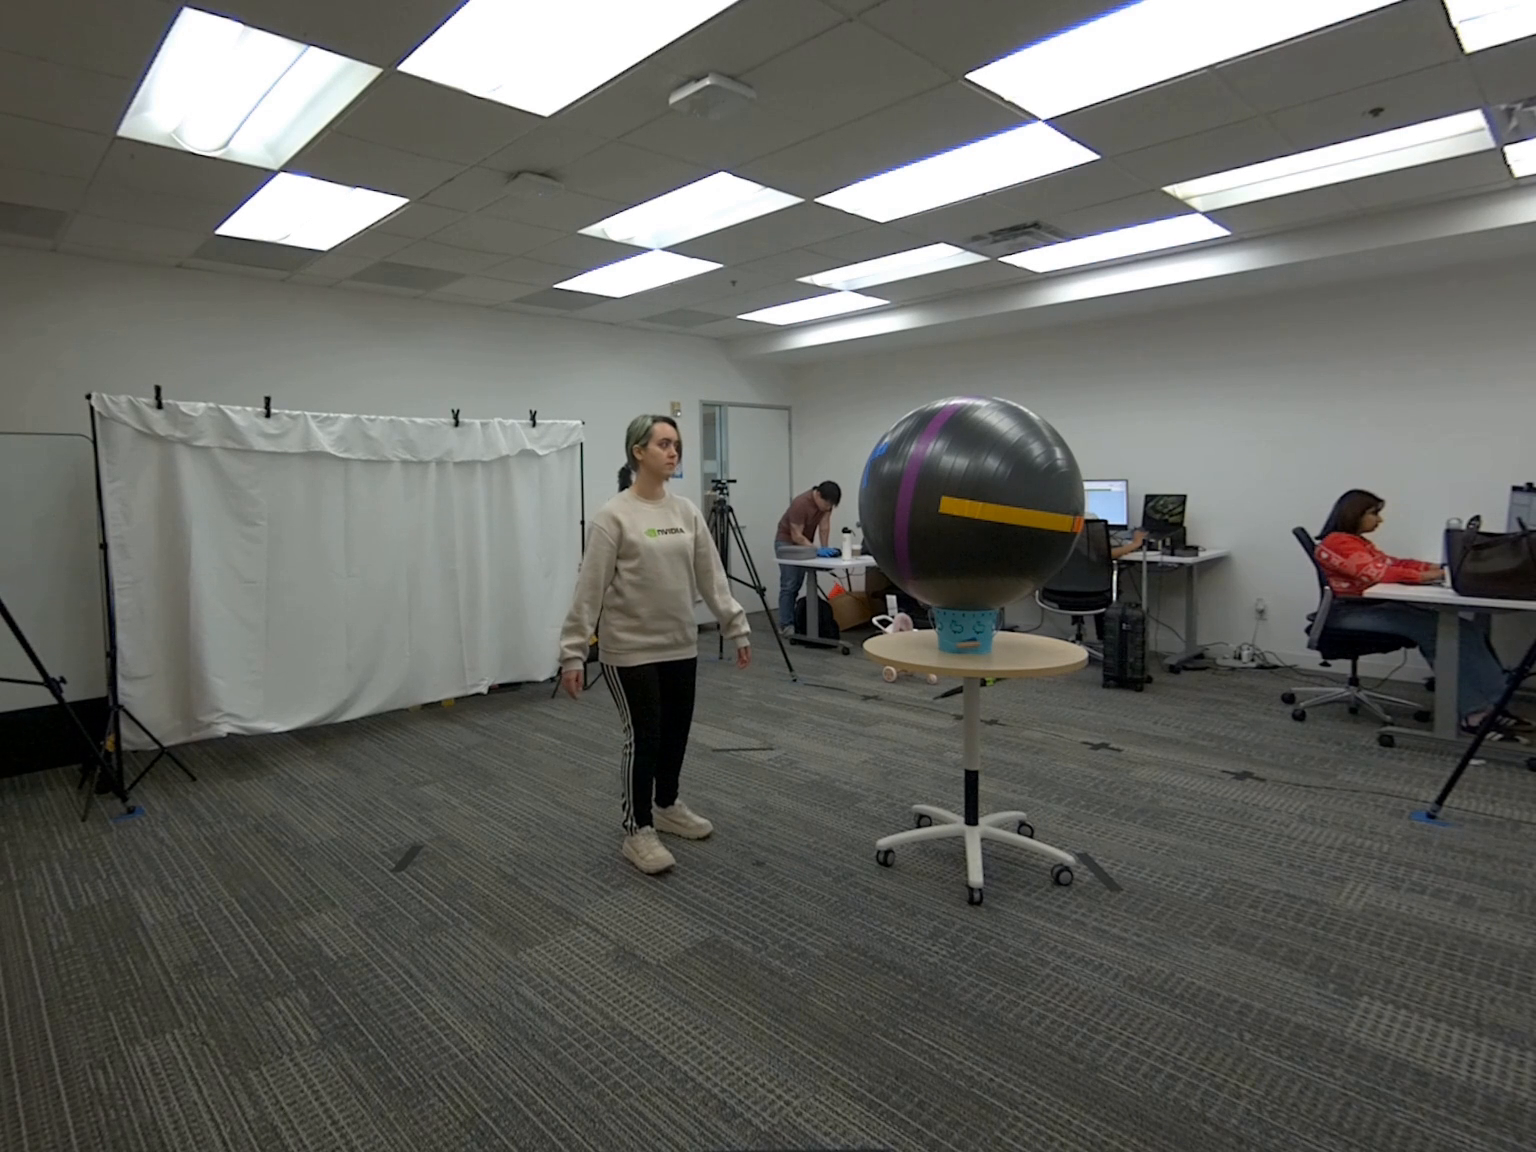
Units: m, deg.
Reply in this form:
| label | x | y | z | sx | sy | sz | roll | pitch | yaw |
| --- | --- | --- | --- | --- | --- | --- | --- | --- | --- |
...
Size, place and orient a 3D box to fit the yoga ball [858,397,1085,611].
| label | x | y | z | sx | sy | sz | roll | pitch | yaw |
| --- | --- | --- | --- | --- | --- | --- | --- | --- | --- |
| yoga ball | 0.705 | -0.246 | 2.989 | 0.757 | 0.755 | 0.762 | -1 | 5 | -2 |
